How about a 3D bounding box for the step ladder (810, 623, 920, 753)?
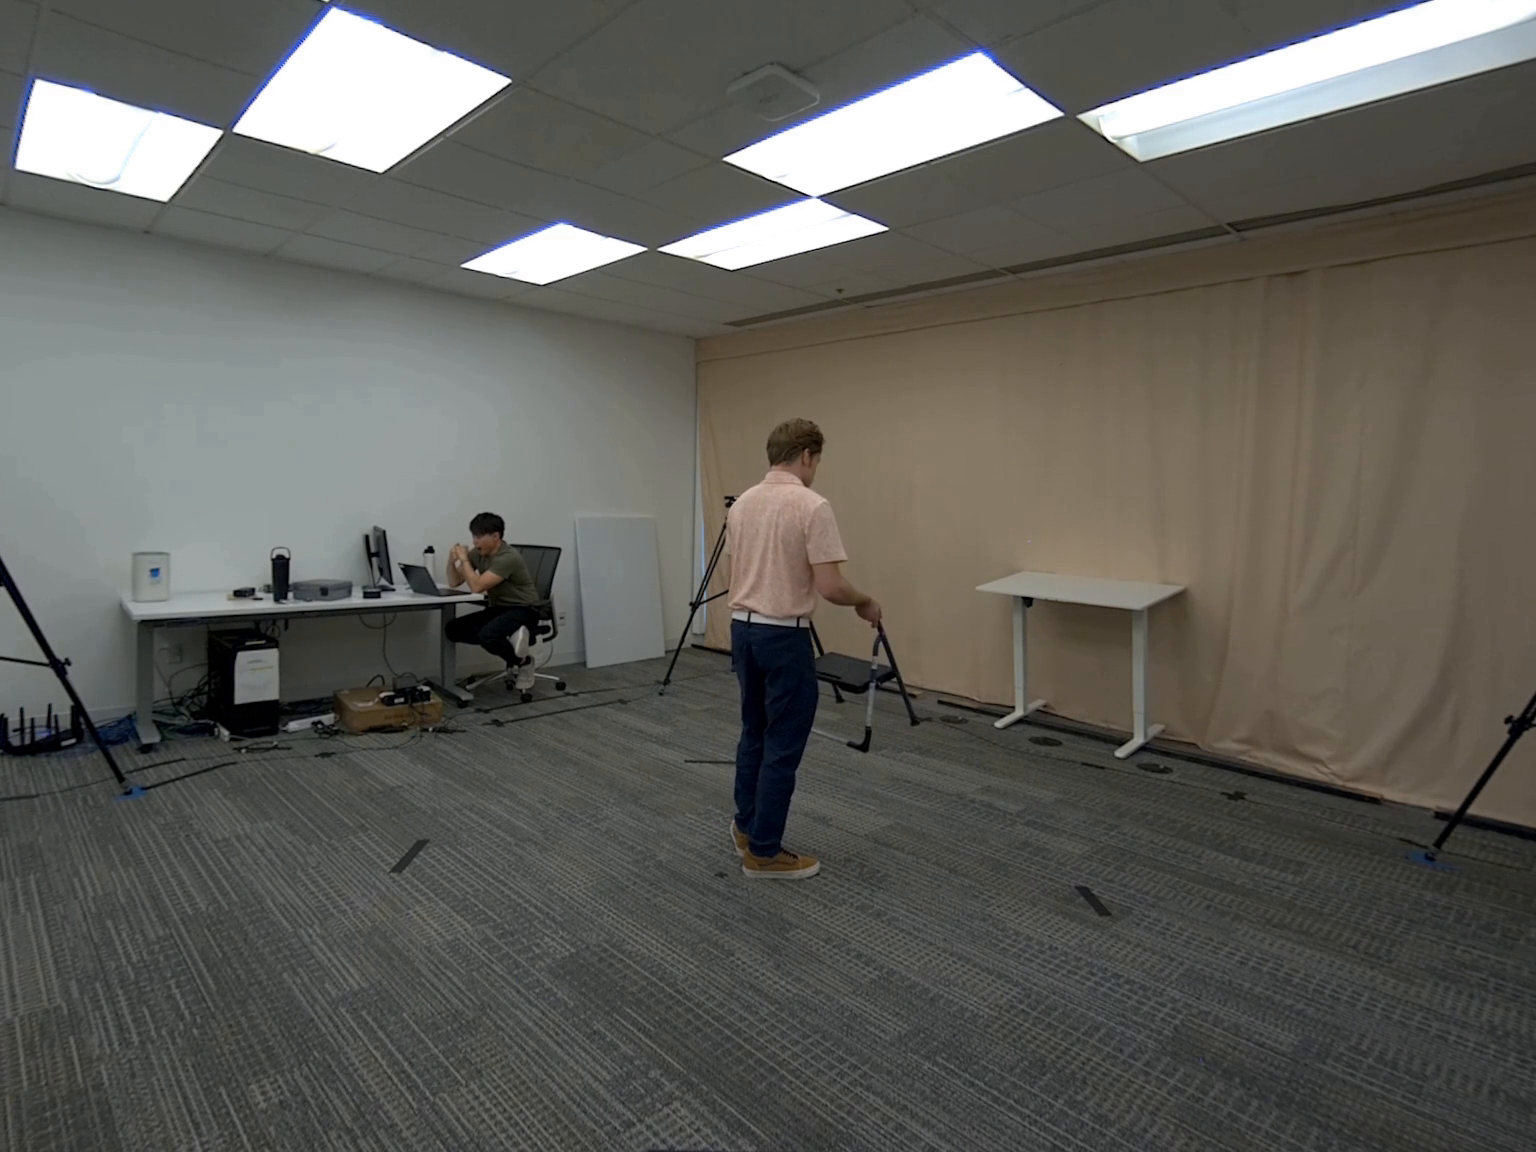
[{"bbox_3d":[0.311,0.322,3.412,0.343,0.600,0.442,-17,17,-41],"label":"step ladder"}]
